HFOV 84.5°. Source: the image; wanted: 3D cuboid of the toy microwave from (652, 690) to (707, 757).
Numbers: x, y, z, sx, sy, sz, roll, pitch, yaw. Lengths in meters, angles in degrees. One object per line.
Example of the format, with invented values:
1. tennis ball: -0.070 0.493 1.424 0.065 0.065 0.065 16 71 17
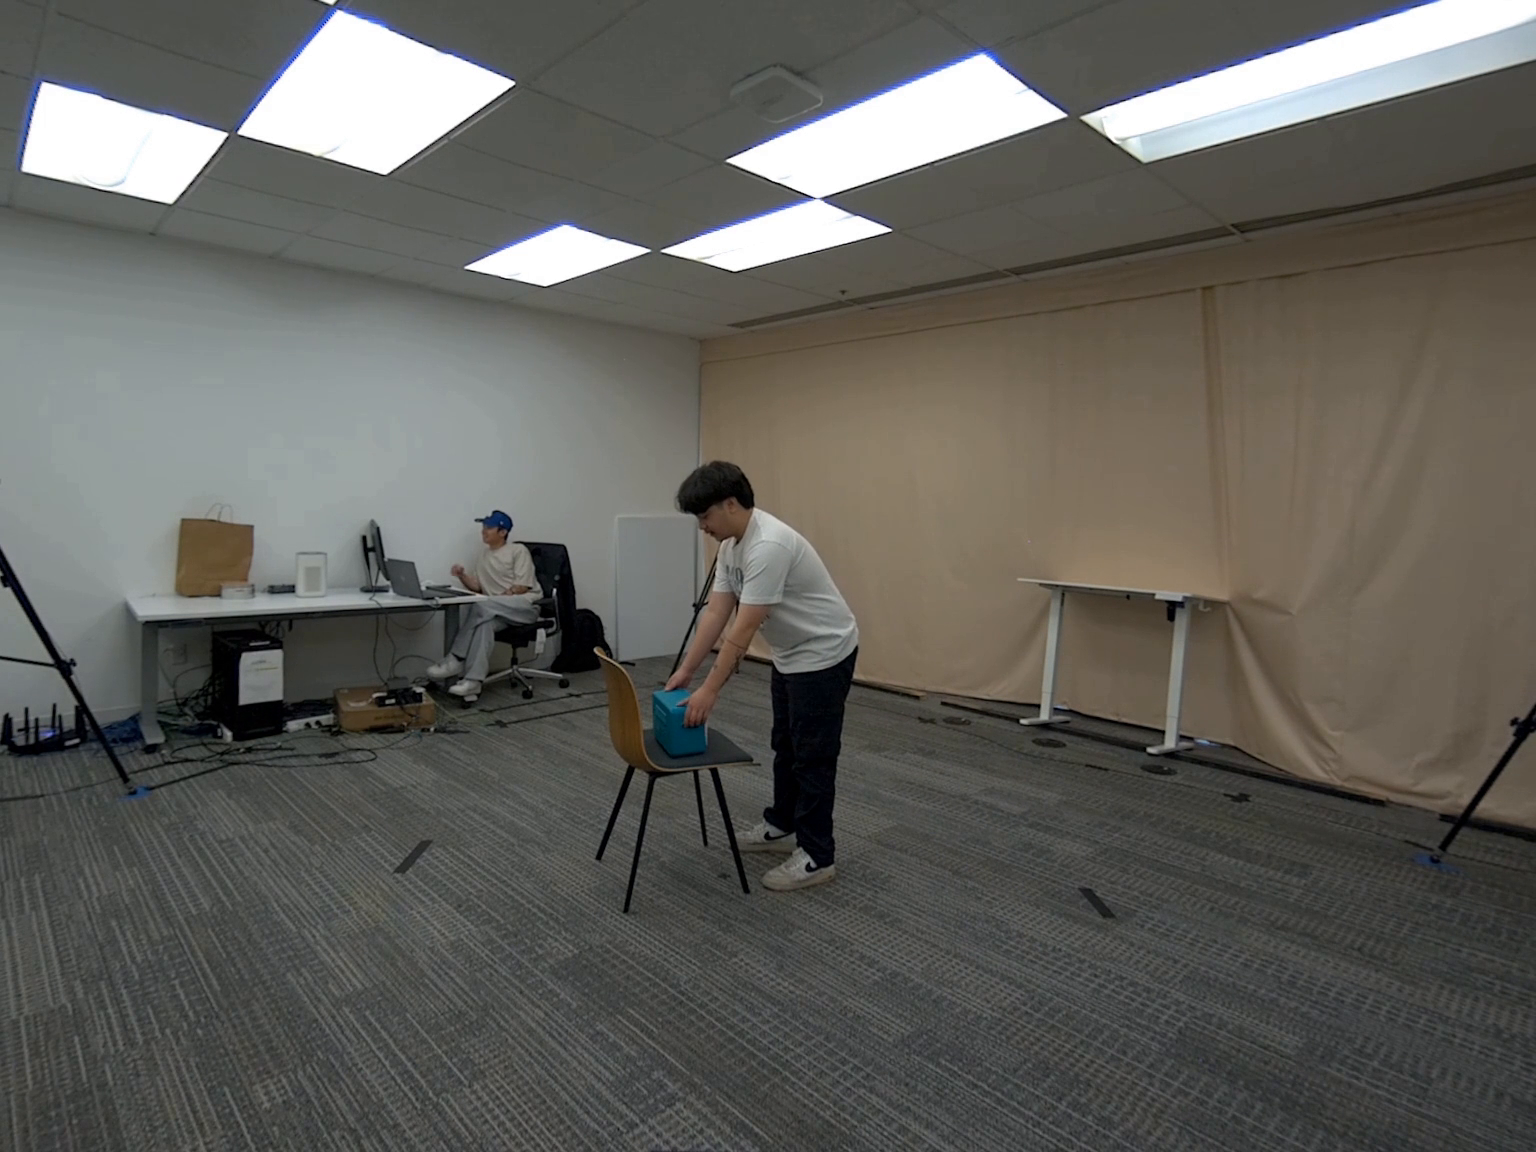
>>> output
1. toy microwave: -0.327 0.527 3.076 0.150 0.183 0.291 -4 6 -20
